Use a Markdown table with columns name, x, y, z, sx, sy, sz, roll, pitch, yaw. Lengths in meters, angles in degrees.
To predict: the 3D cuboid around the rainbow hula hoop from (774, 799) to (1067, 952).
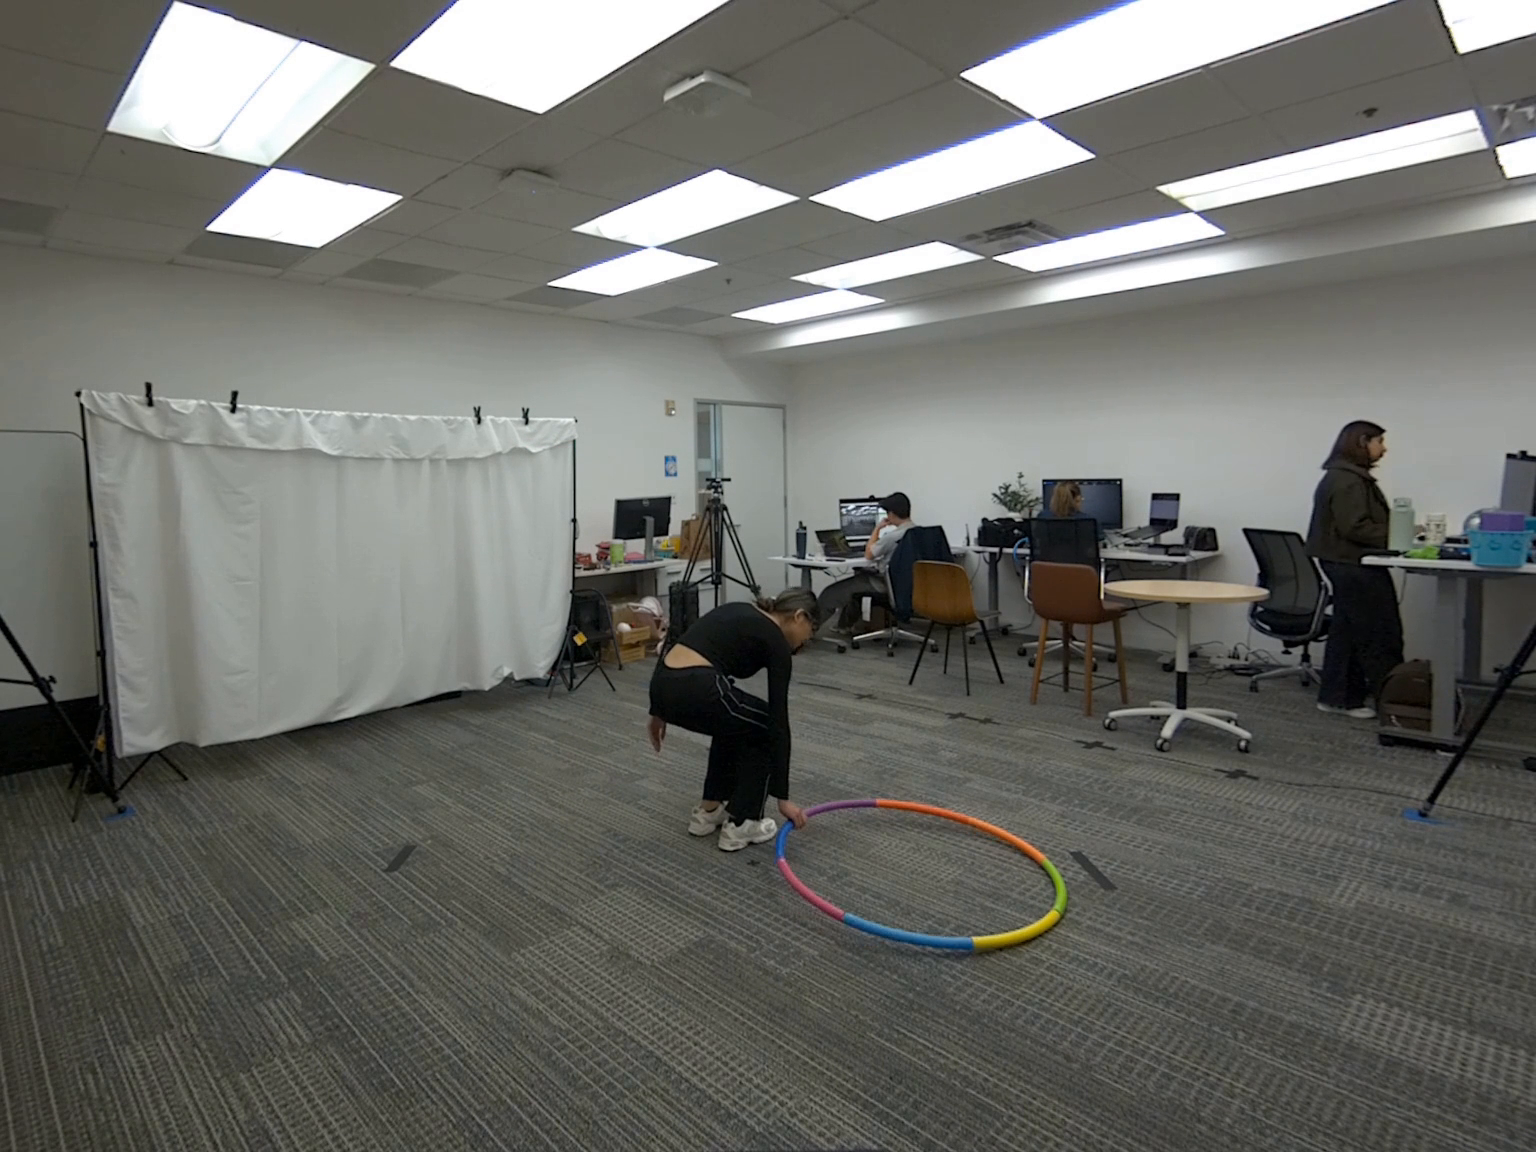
| name | x | y | z | sx | sy | sz | roll | pitch | yaw |
| --- | --- | --- | --- | --- | --- | --- | --- | --- | --- |
| rainbow hula hoop | 0.511 | 0.978 | 2.962 | 0.977 | 0.035 | 0.986 | 3 | 9 | -2 |
